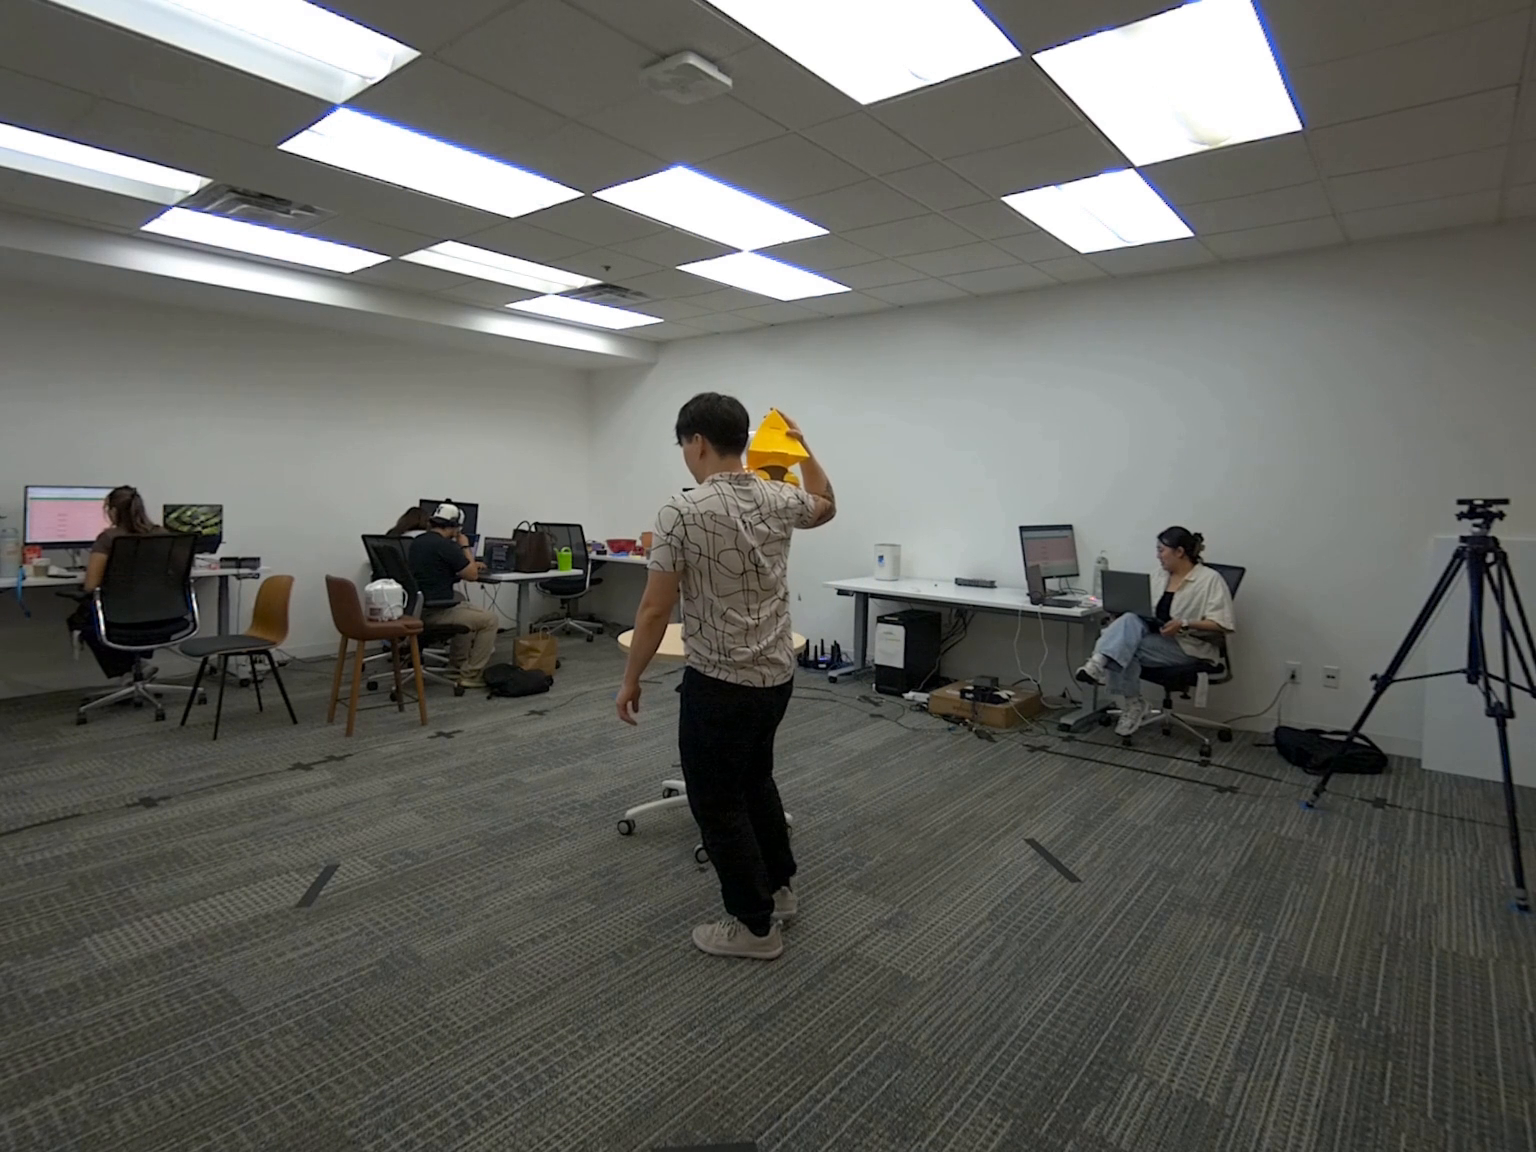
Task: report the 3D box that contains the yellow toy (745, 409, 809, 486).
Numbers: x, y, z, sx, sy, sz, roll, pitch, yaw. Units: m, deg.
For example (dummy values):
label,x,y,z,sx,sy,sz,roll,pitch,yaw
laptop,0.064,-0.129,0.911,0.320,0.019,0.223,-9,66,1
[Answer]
label,x,y,z,sx,sy,sz,roll,pitch,yaw
yellow toy,-0.016,-0.394,2.659,0.200,0.233,0.195,4,-11,-23
